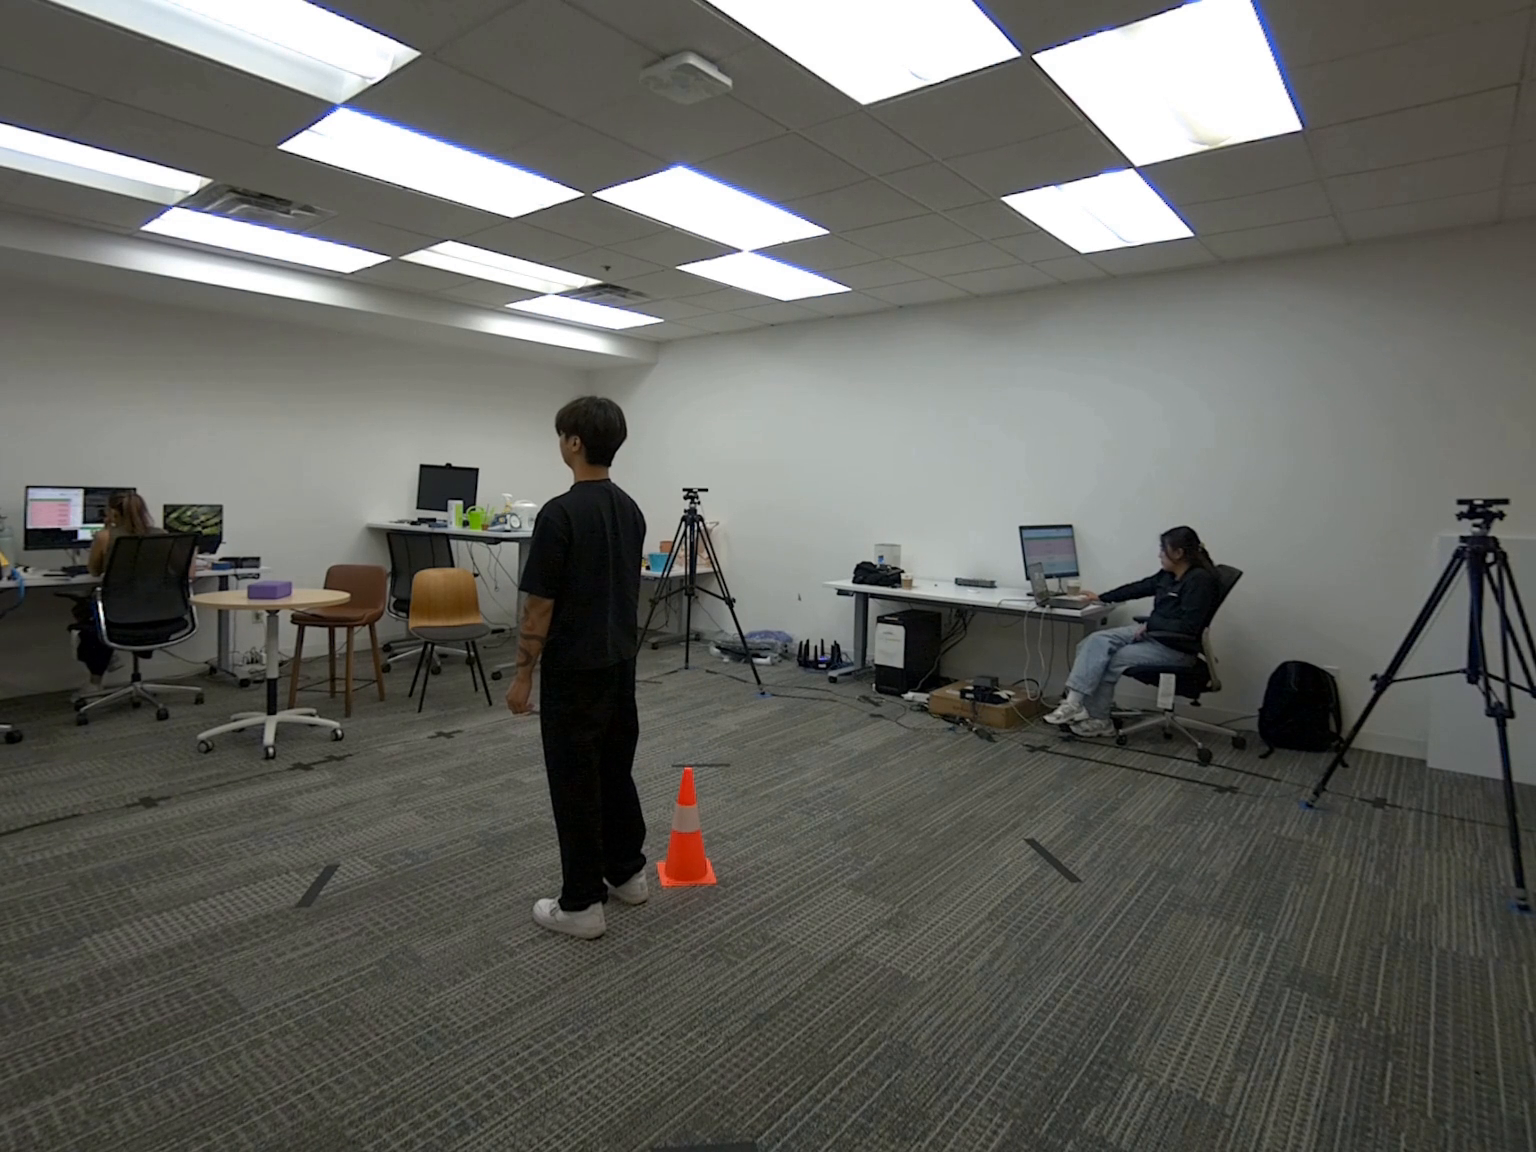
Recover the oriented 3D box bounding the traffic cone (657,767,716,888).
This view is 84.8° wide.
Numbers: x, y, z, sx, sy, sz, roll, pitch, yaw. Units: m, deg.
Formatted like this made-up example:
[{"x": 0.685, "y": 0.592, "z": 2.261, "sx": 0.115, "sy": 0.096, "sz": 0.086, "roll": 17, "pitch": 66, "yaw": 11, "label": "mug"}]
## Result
[{"x": -0.299, "y": 0.889, "z": 3.075, "sx": 0.203, "sy": 0.383, "sz": 0.206, "roll": 1, "pitch": 3, "yaw": -10, "label": "traffic cone"}]
